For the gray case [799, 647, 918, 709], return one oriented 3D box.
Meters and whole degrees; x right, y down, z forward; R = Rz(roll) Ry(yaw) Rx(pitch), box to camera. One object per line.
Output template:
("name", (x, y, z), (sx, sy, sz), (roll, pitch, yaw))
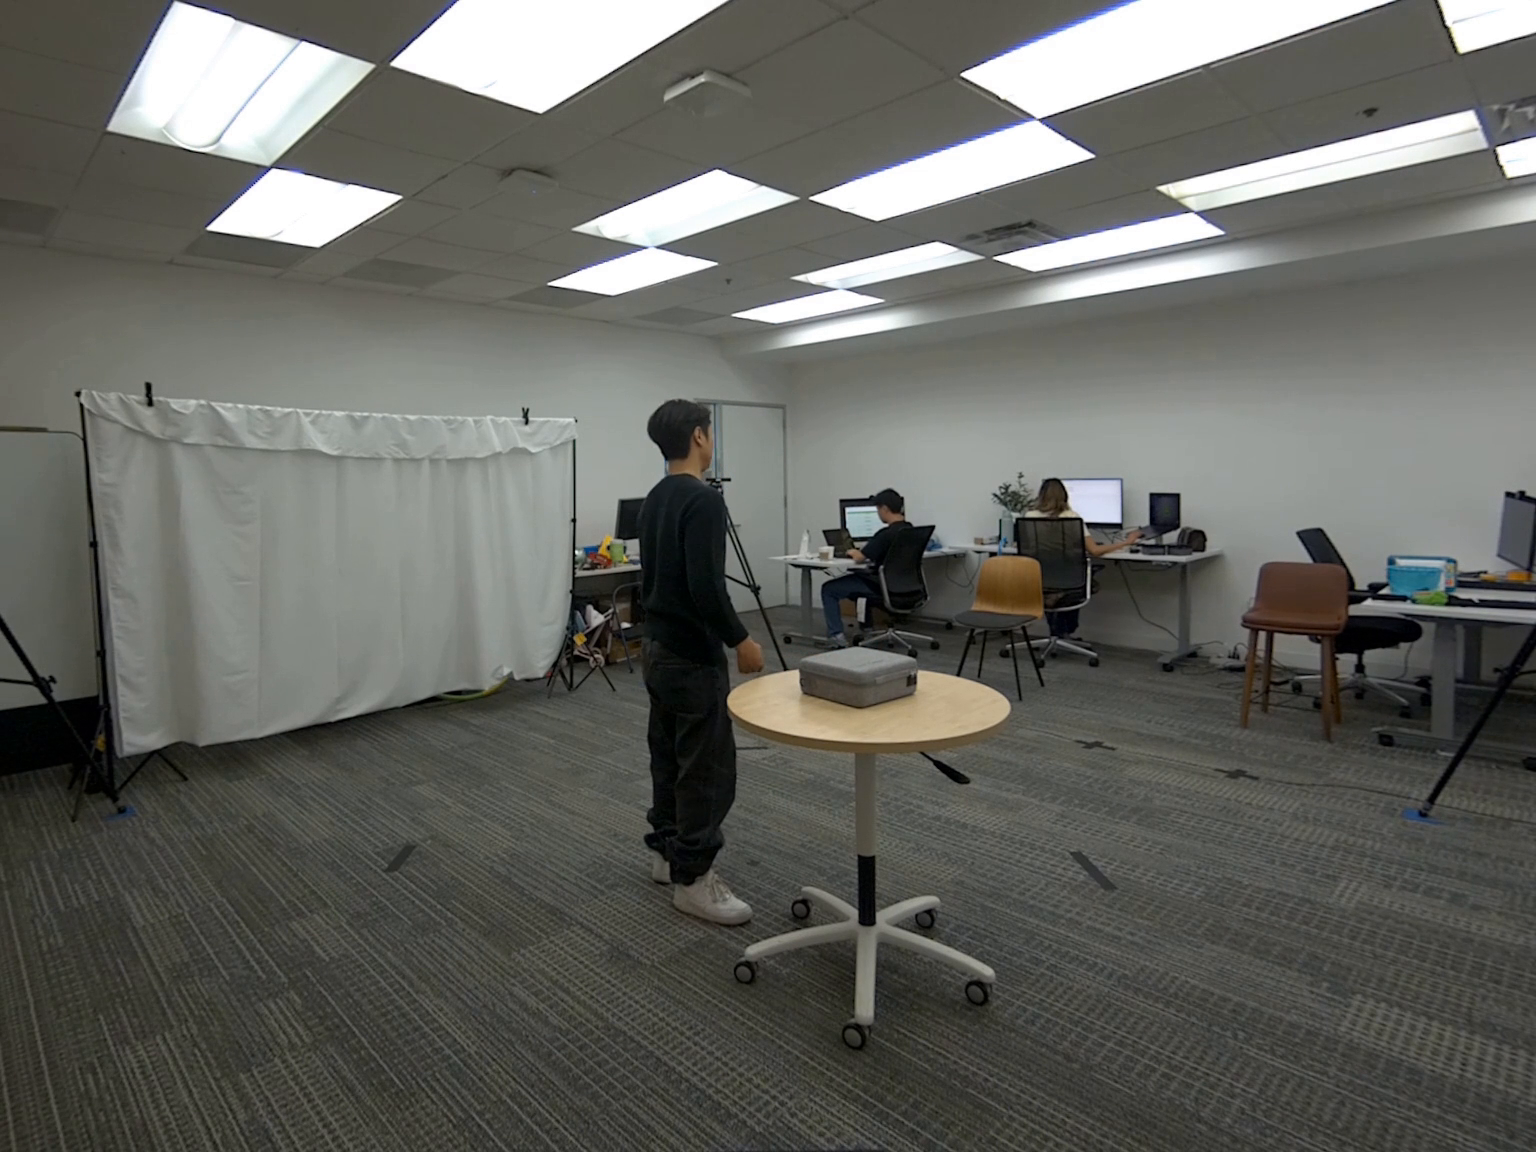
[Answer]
("gray case", (0.257, 0.279, 2.418), (0.250, 0.104, 0.268), (-8, 9, -38))
